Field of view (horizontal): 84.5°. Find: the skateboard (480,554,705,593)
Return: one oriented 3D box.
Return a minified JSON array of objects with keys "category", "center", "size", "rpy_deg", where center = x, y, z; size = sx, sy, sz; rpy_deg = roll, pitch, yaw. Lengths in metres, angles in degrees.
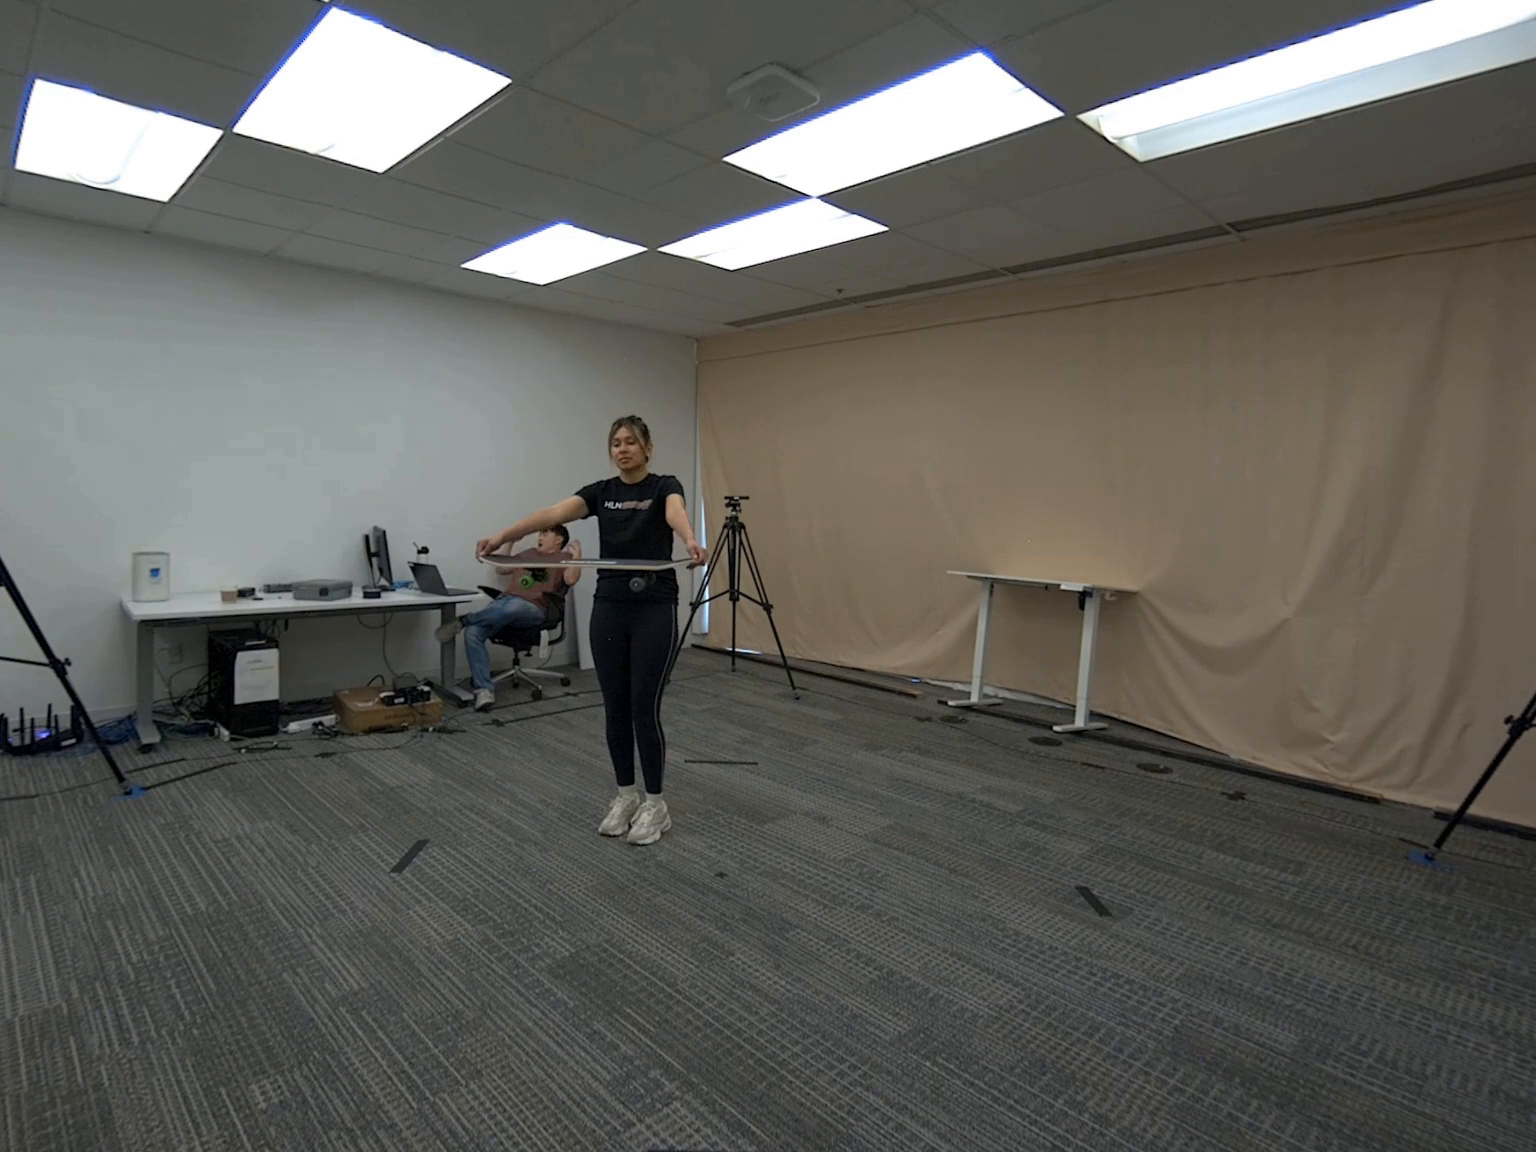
[{"category":"skateboard","center":[-0.636,-0.009,2.967],"size":[0.790,0.110,0.193],"rpy_deg":[1,6,7]}]
